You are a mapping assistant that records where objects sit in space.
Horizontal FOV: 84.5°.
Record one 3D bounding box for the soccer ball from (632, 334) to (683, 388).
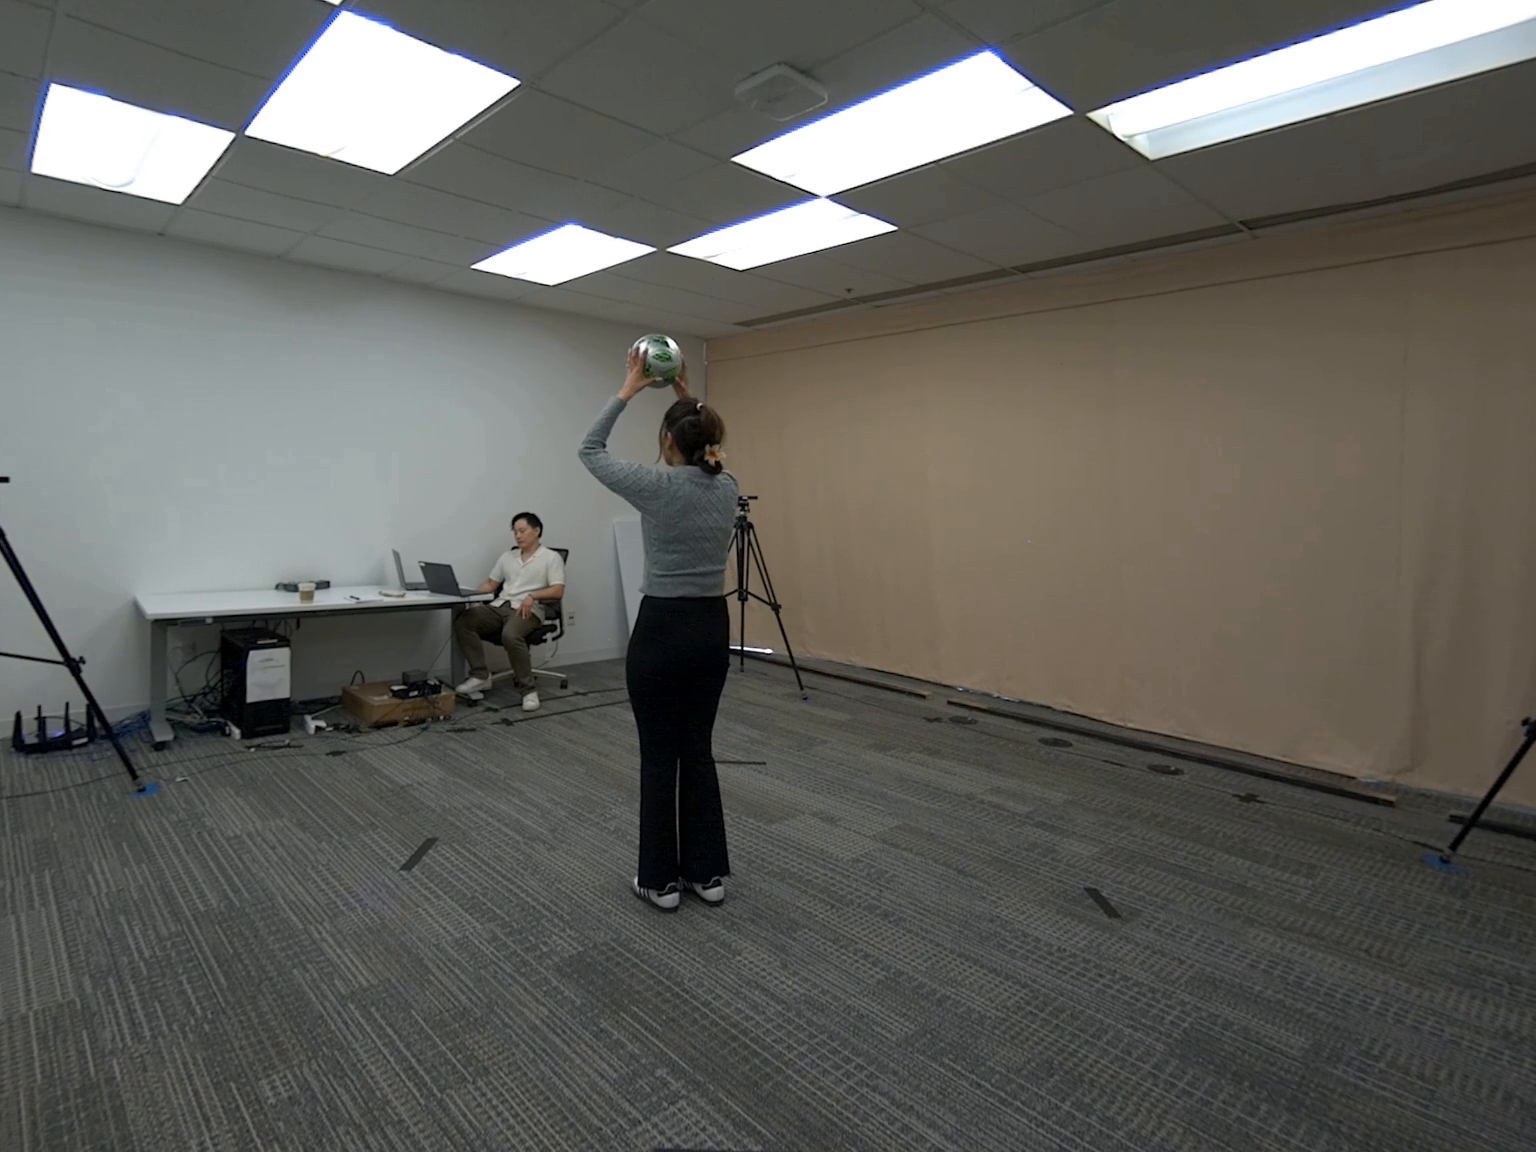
[{"bbox_3d":[-0.415,-0.752,2.978,0.187,0.187,0.188,1,4,-1],"label":"soccer ball"}]
